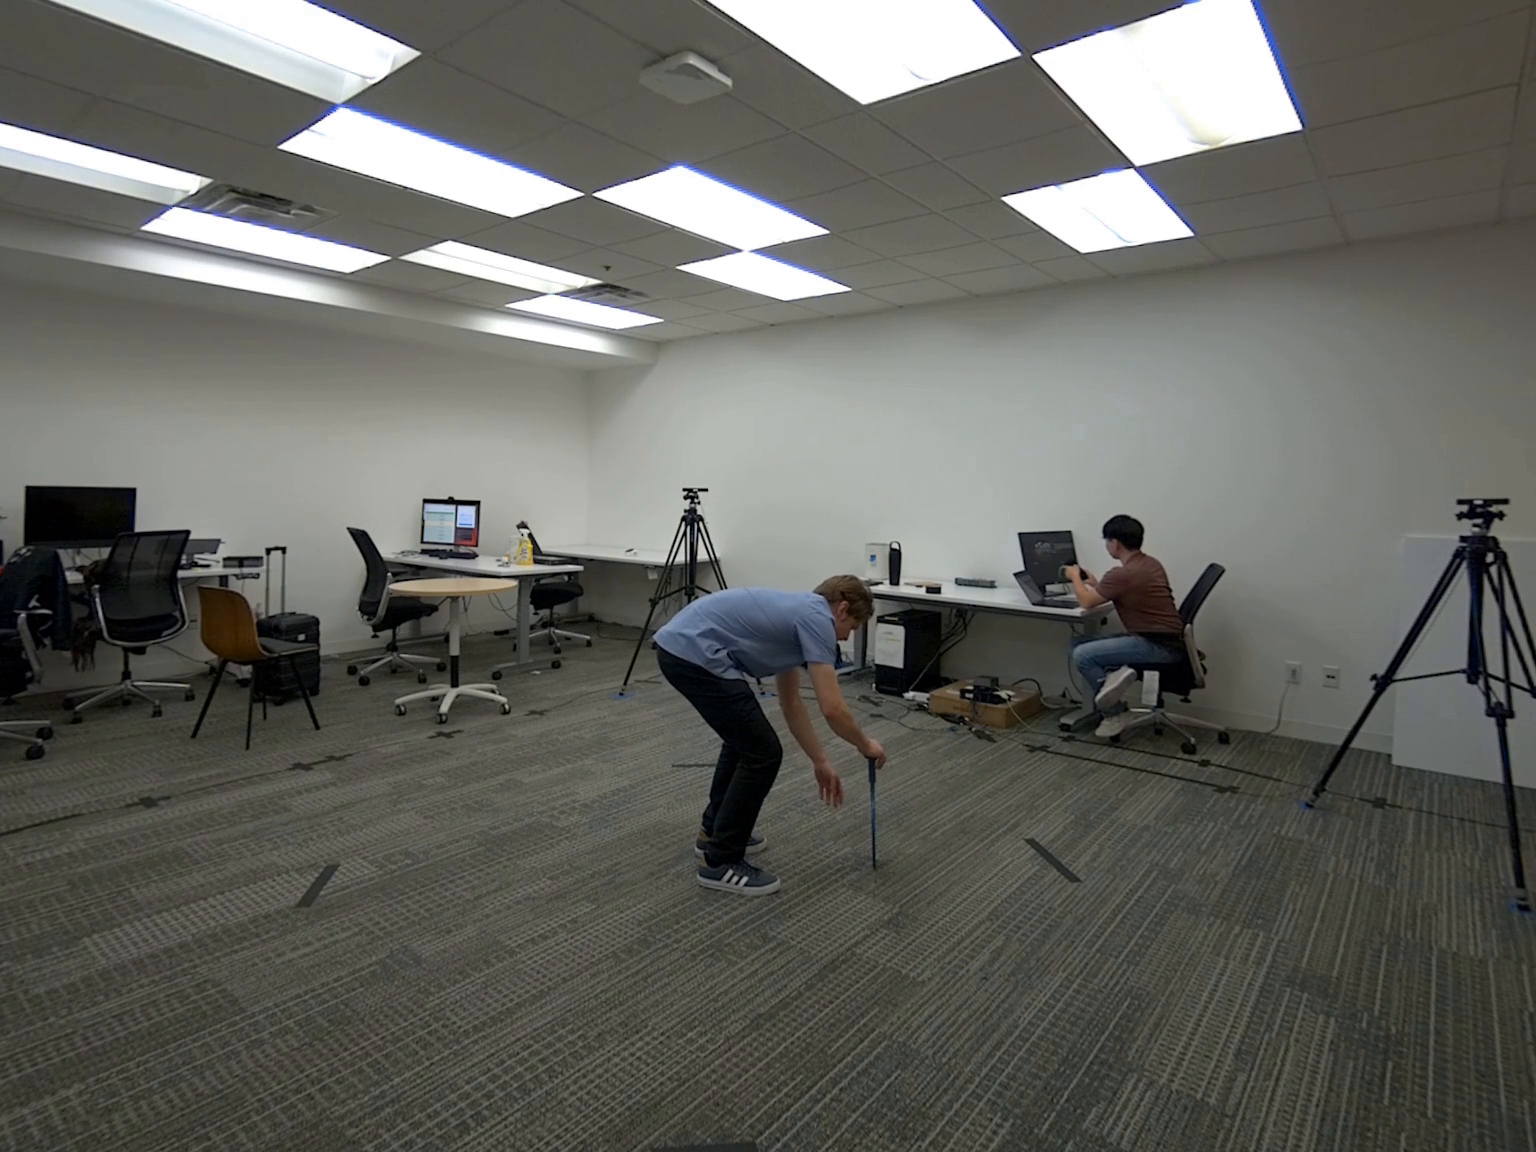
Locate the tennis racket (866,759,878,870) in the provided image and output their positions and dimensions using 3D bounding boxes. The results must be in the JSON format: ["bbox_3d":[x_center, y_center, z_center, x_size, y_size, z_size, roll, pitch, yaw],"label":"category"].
[{"bbox_3d":[0.385,0.863,3.172,0.032,0.432,0.212,0,2,8],"label":"tennis racket"}]
